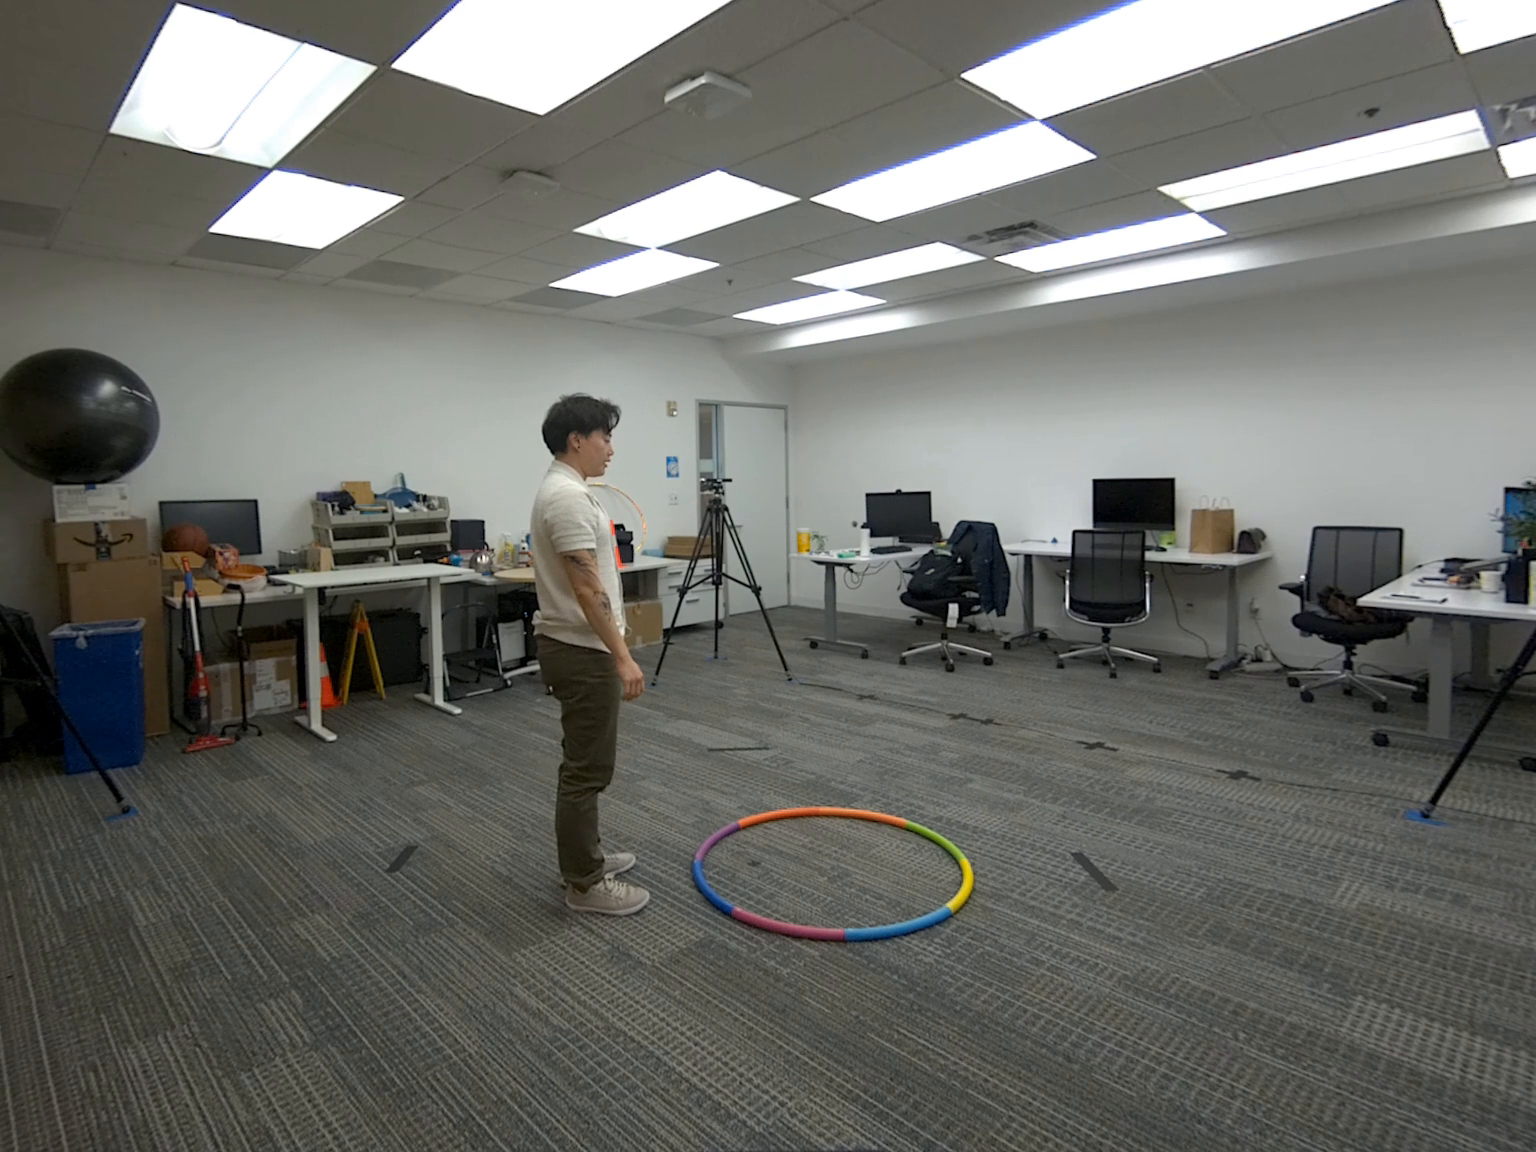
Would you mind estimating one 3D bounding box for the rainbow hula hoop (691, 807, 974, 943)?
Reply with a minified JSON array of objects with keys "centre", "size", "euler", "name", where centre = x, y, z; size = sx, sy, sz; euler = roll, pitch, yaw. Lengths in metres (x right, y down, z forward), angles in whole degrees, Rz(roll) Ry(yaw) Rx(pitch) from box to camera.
[{"centre":[0.219,1.013,3.056],"size":[0.978,0.035,0.984],"euler":[-2,7,-2],"name":"rainbow hula hoop"}]
